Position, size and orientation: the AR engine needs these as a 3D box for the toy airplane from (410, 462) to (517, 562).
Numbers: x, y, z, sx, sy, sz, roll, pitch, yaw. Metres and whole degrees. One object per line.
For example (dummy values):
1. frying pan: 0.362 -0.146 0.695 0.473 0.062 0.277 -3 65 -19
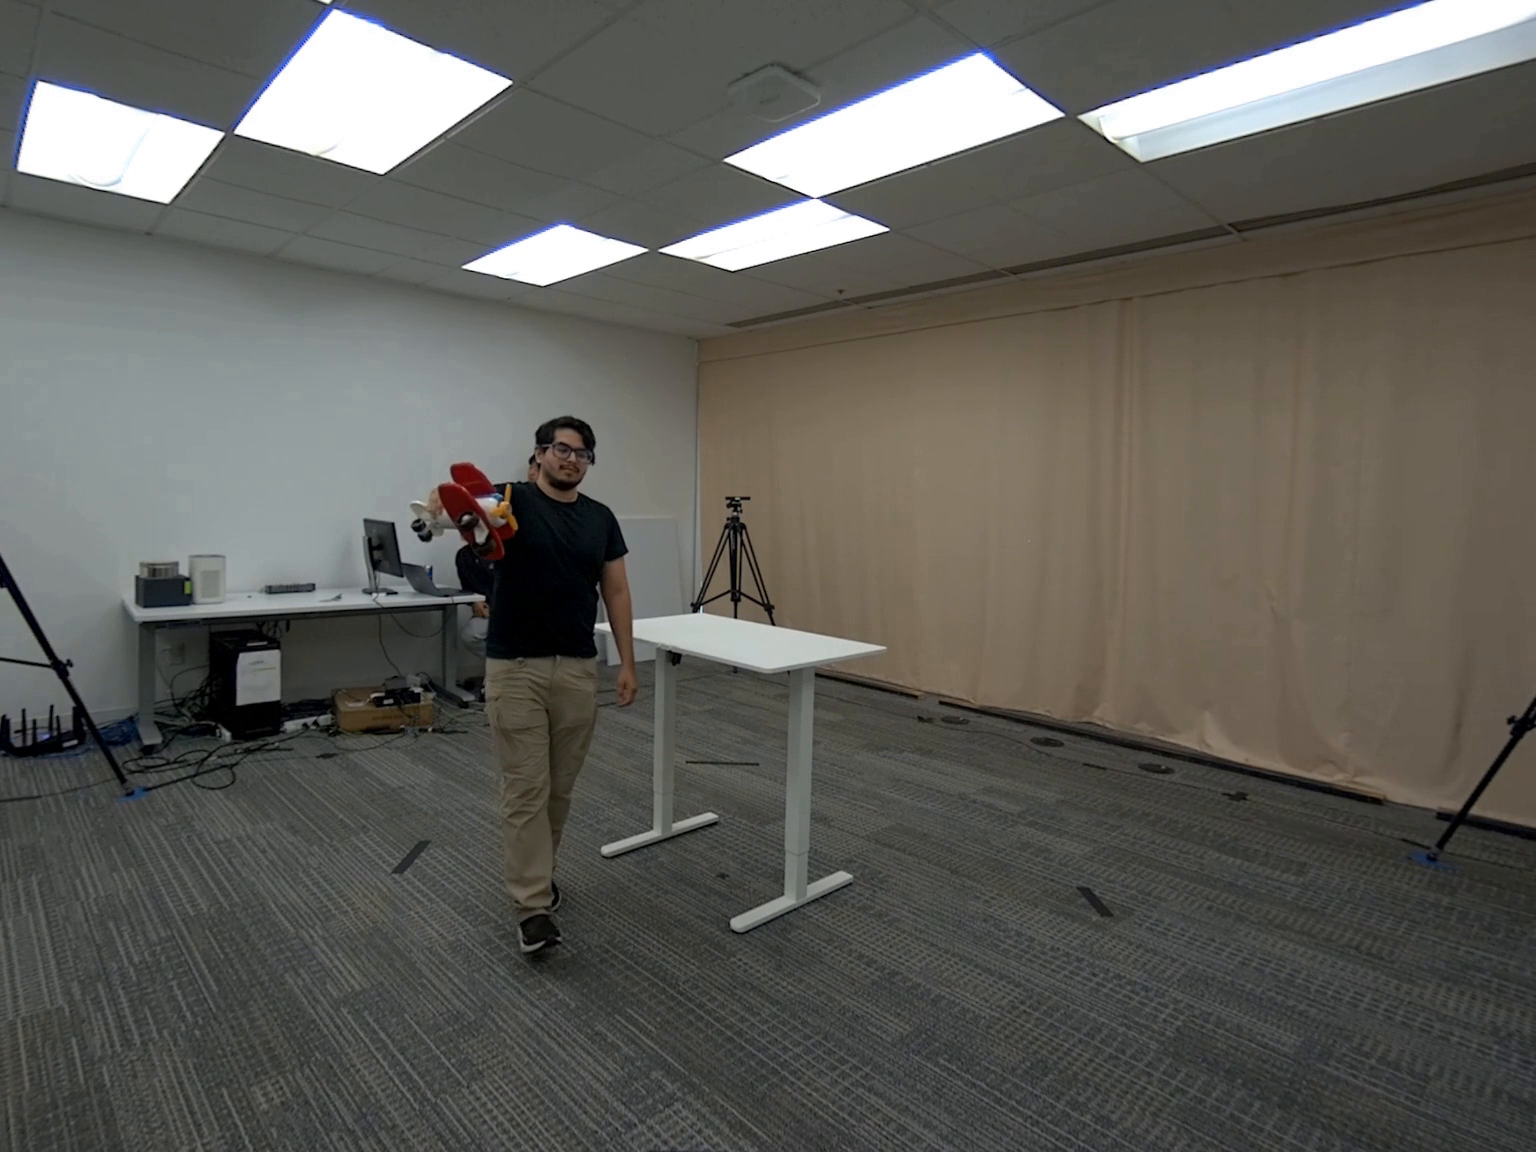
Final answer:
1. toy airplane: -0.784 -0.160 2.090 0.261 0.158 0.248 24 -37 5
